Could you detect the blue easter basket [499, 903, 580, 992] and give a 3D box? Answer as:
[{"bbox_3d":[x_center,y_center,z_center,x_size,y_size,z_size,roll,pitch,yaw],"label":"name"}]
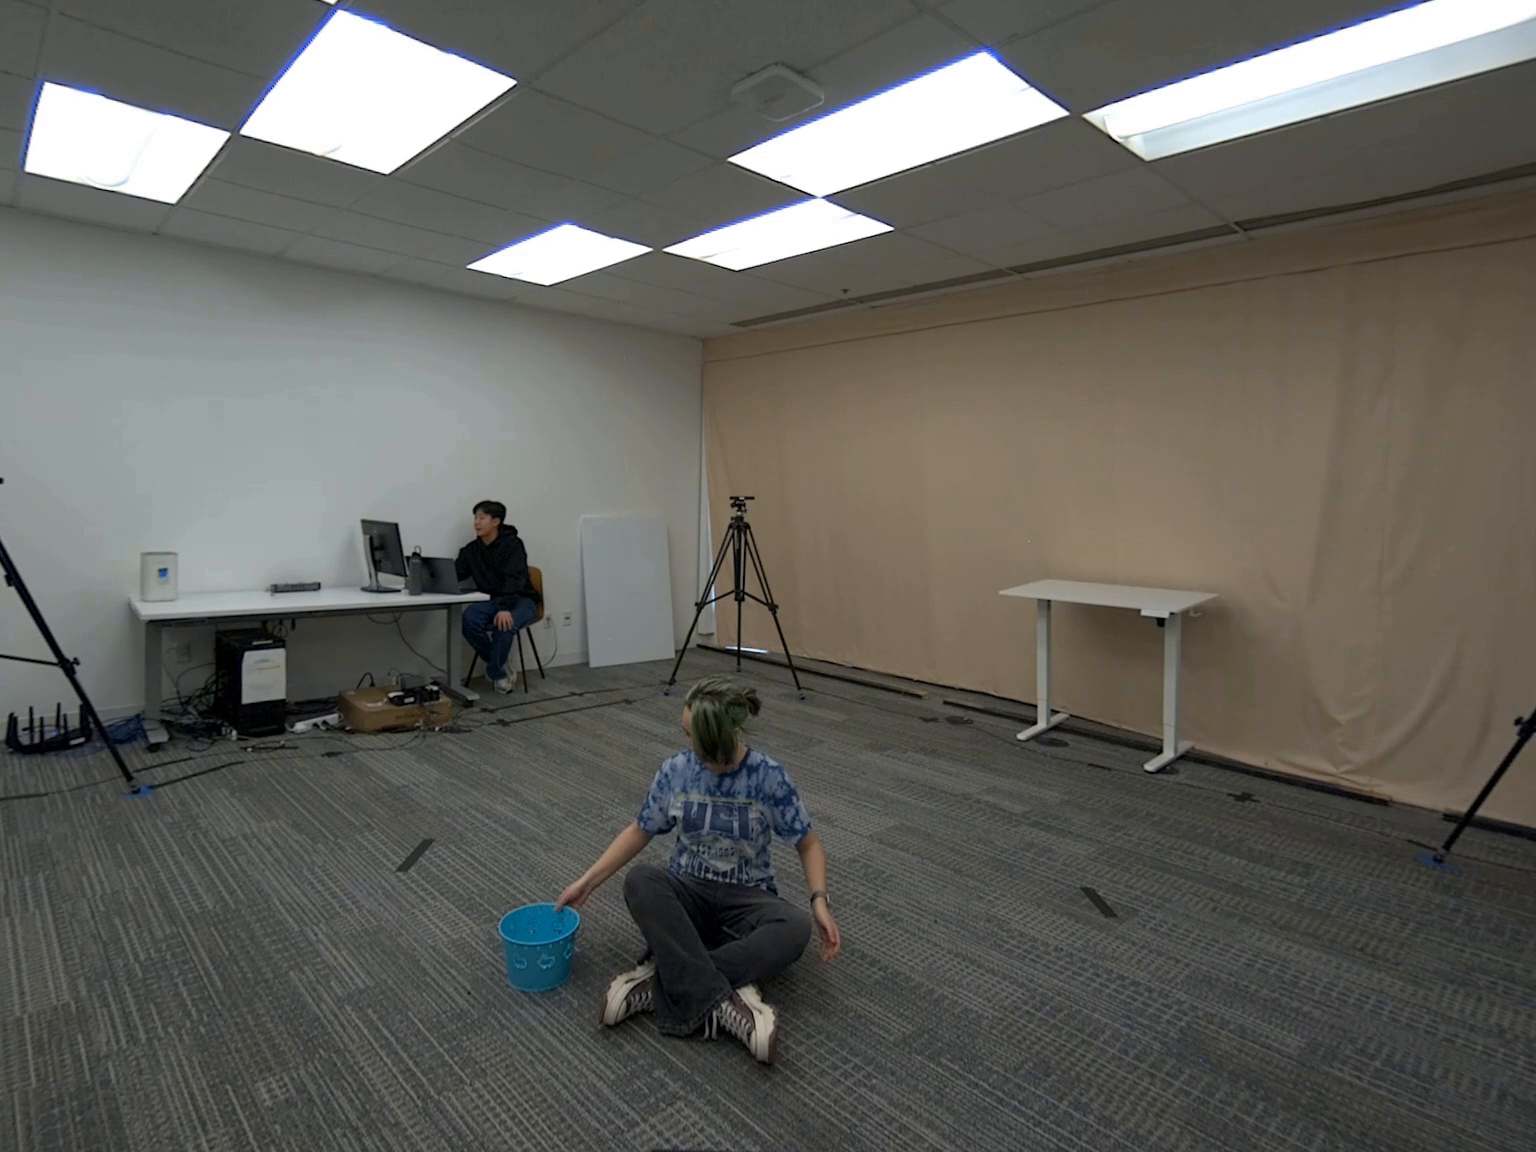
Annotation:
[{"bbox_3d":[-0.657,1.073,2.441,0.243,0.155,0.244,1,5,-1],"label":"blue easter basket"}]
